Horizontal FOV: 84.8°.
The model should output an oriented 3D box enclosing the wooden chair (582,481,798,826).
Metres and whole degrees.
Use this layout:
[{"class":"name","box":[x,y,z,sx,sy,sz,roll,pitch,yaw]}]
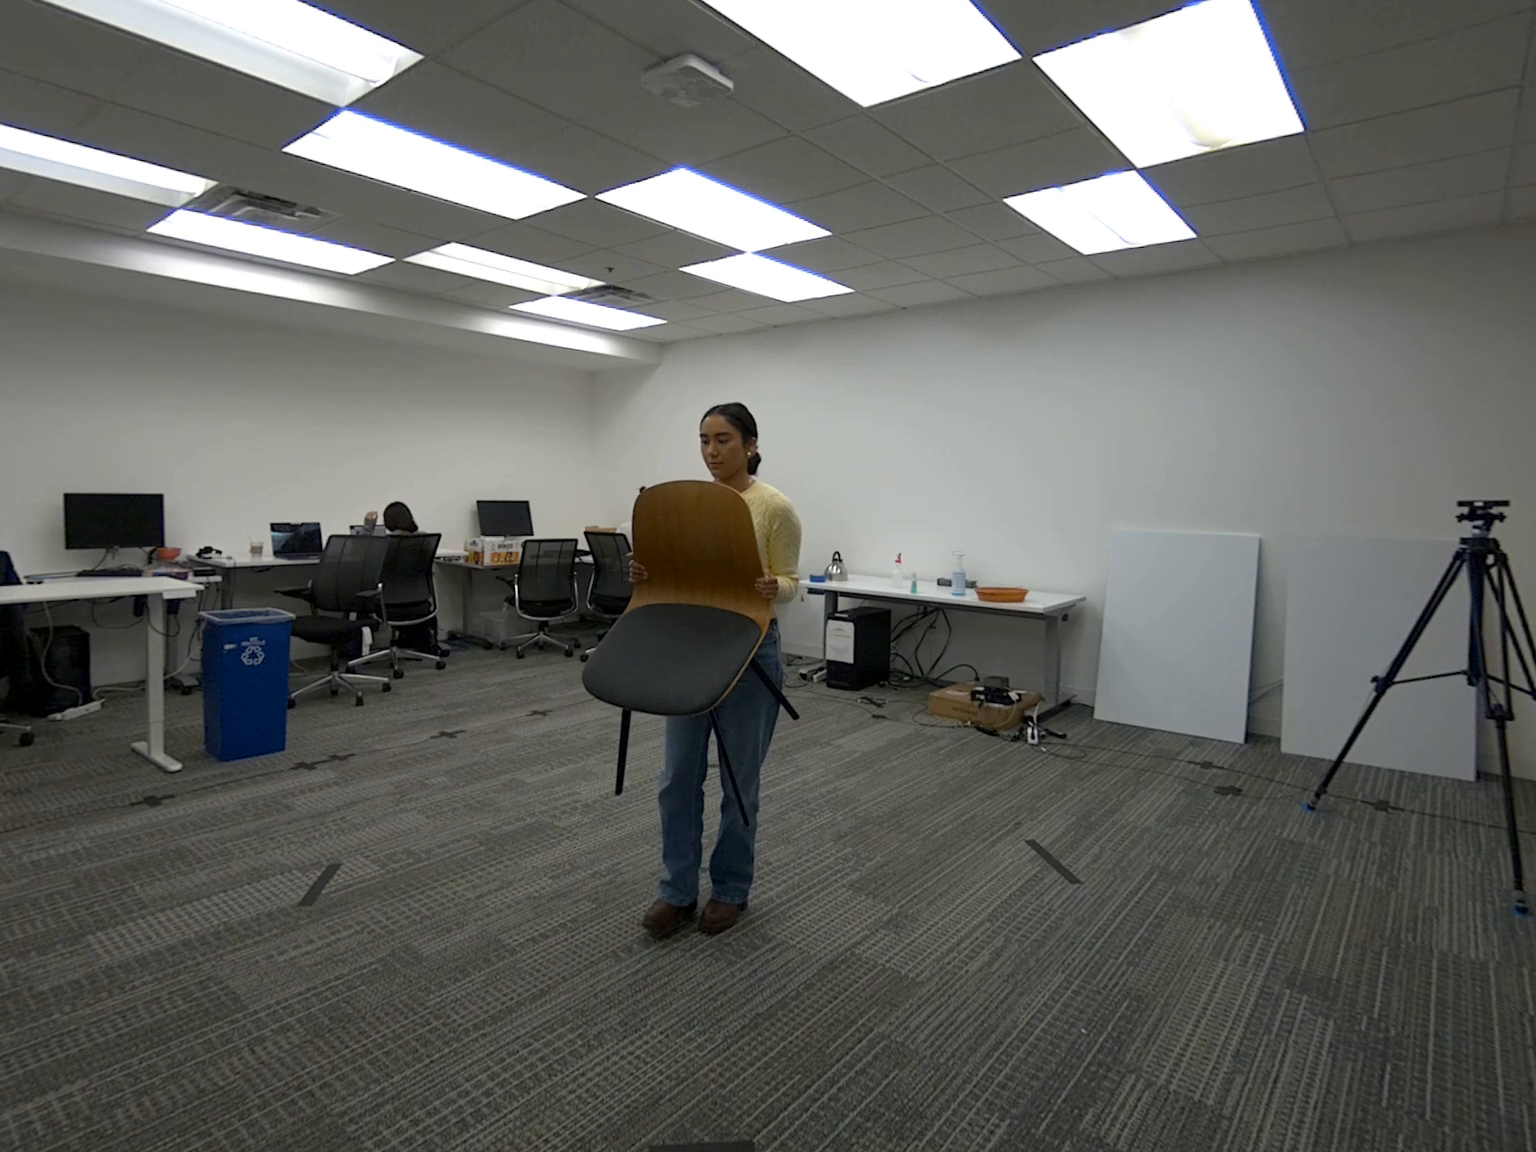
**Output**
[{"class":"wooden chair","box":[-0.265,0.228,2.476,0.491,0.854,0.524,7,32,24]}]
